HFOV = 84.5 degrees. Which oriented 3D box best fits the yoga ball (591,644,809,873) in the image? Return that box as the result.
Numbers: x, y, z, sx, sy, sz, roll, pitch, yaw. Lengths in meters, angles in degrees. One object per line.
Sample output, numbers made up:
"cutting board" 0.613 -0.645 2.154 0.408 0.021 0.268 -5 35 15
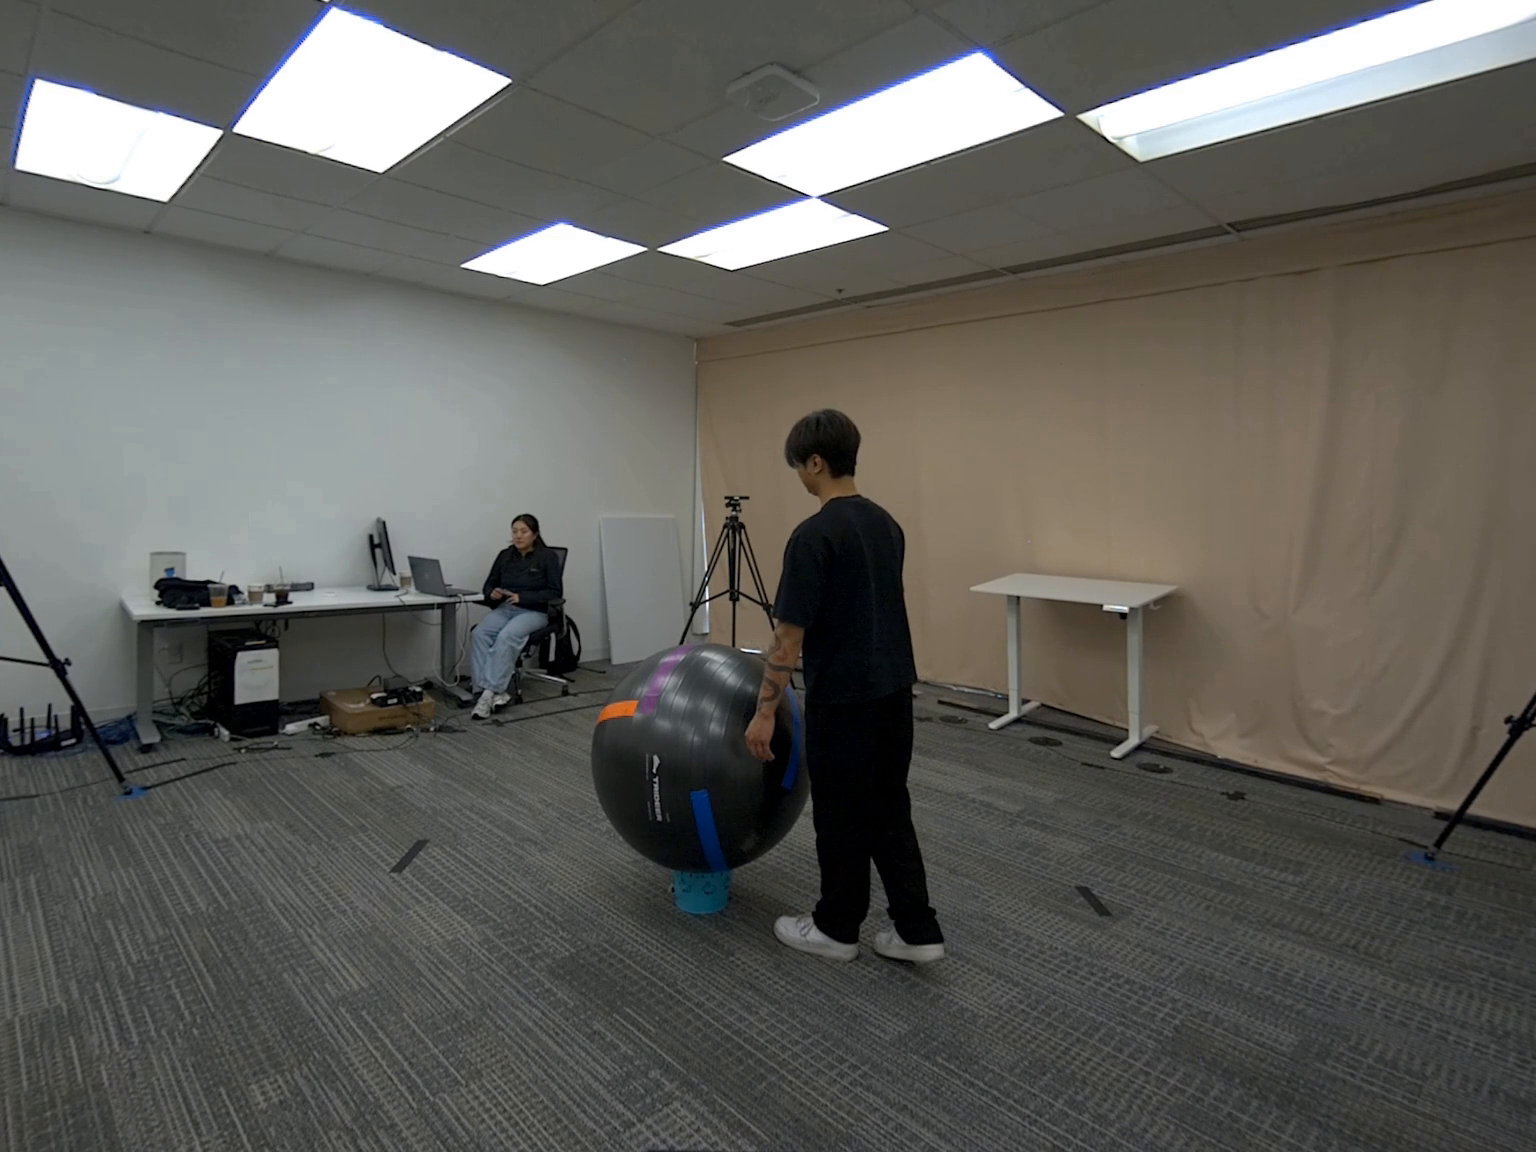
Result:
"yoga ball" -0.228 0.613 2.872 0.757 0.756 0.761 1 4 -1
